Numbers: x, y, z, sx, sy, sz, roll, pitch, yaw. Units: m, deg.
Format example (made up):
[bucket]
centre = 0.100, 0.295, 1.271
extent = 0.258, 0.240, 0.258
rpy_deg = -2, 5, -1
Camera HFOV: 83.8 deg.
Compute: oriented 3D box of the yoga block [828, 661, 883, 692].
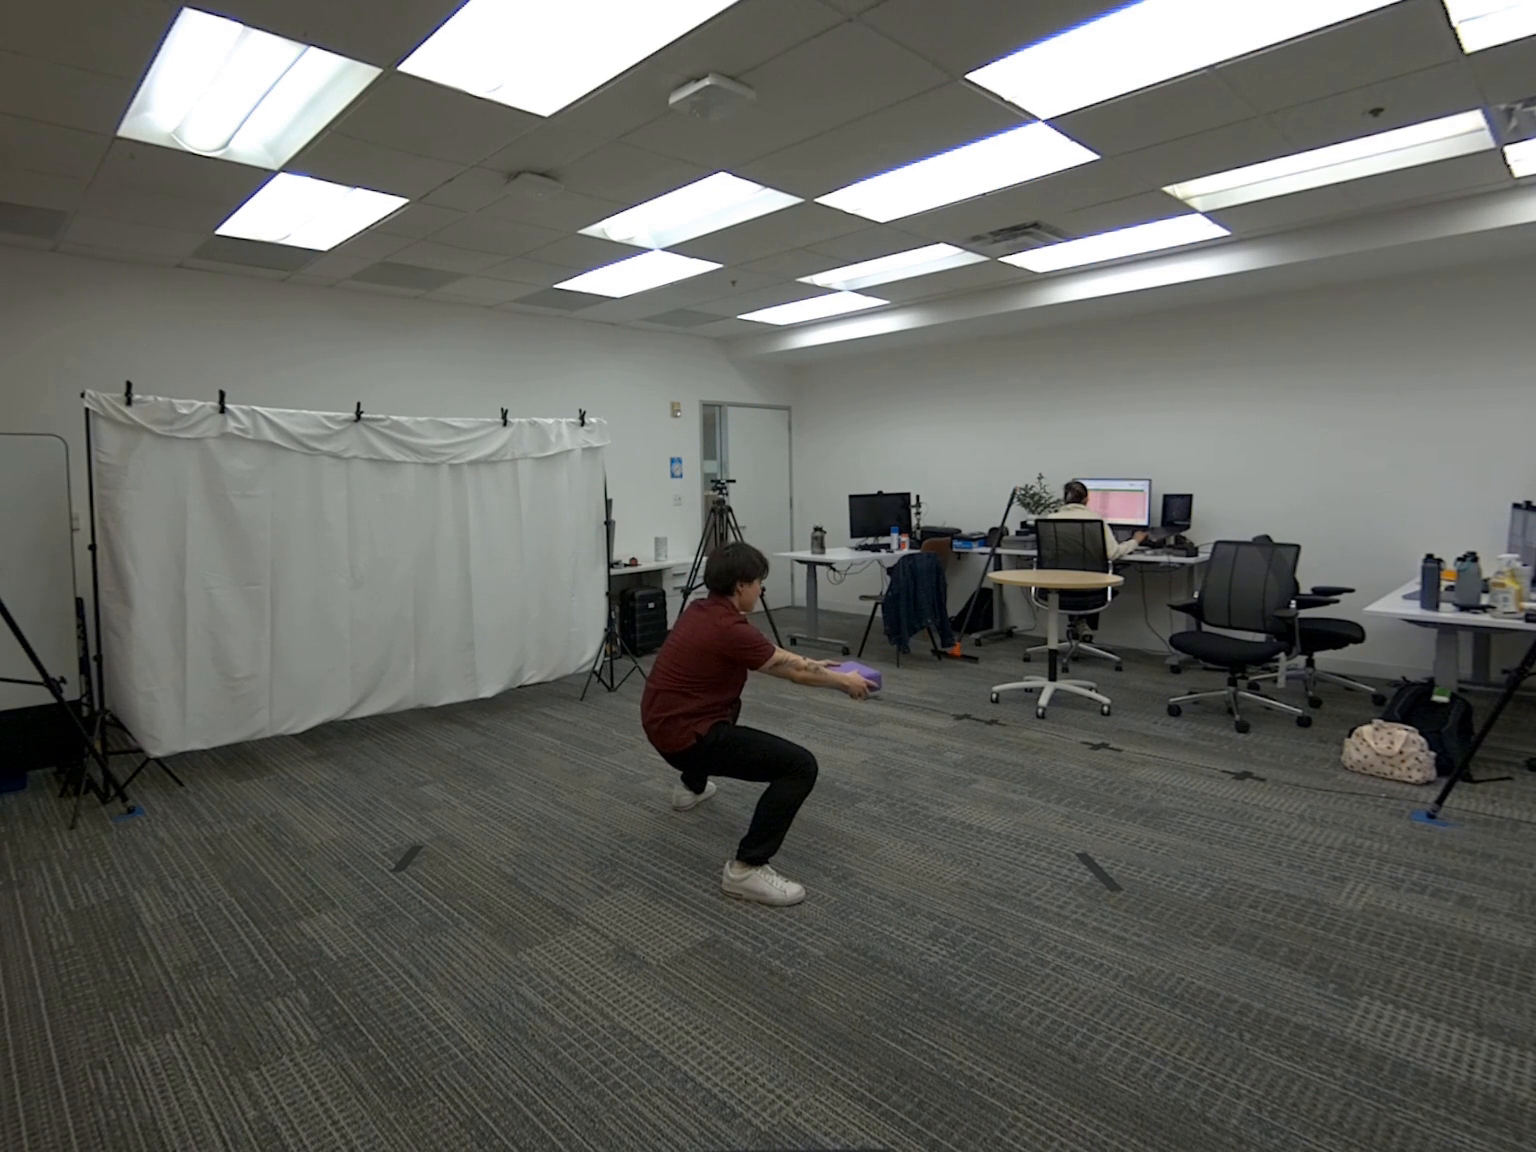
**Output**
[yoga block]
centre = 0.345, 0.393, 3.470
extent = 0.146, 0.076, 0.235
rpy_deg = -9, 10, -24
